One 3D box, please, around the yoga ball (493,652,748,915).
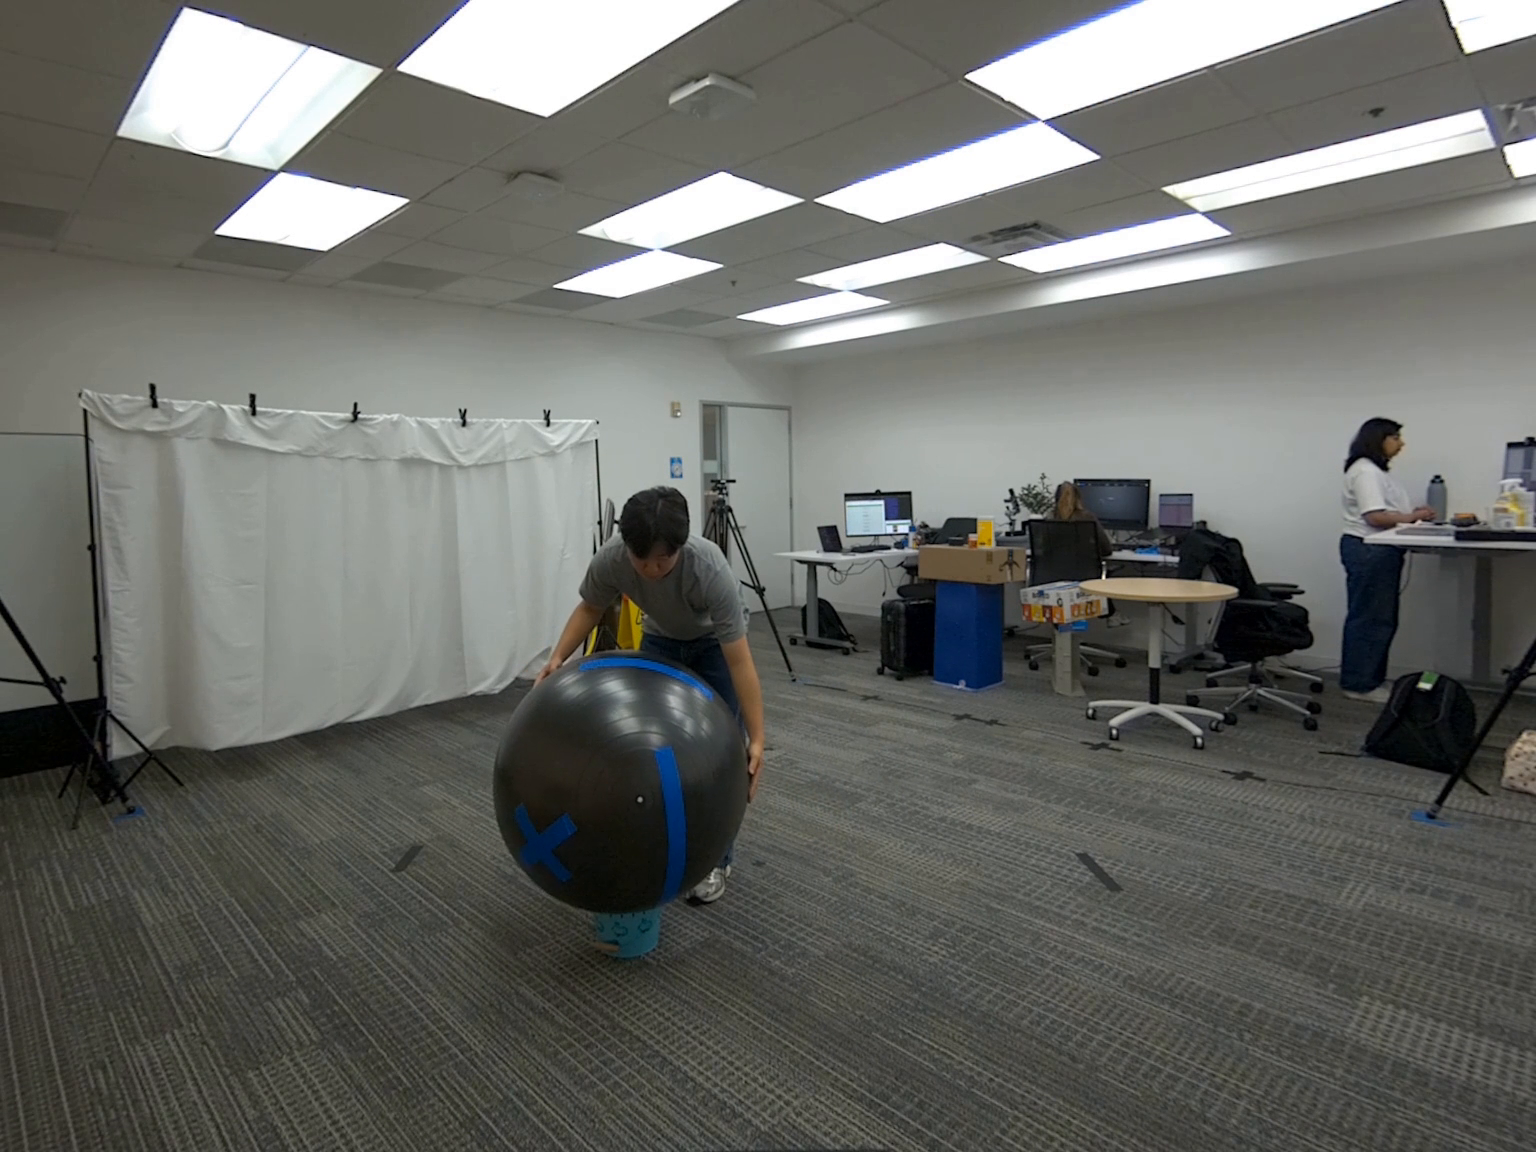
[{"bbox_3d":[-0.445,0.614,2.568,0.757,0.755,0.762,-1,5,-2],"label":"yoga ball"}]
